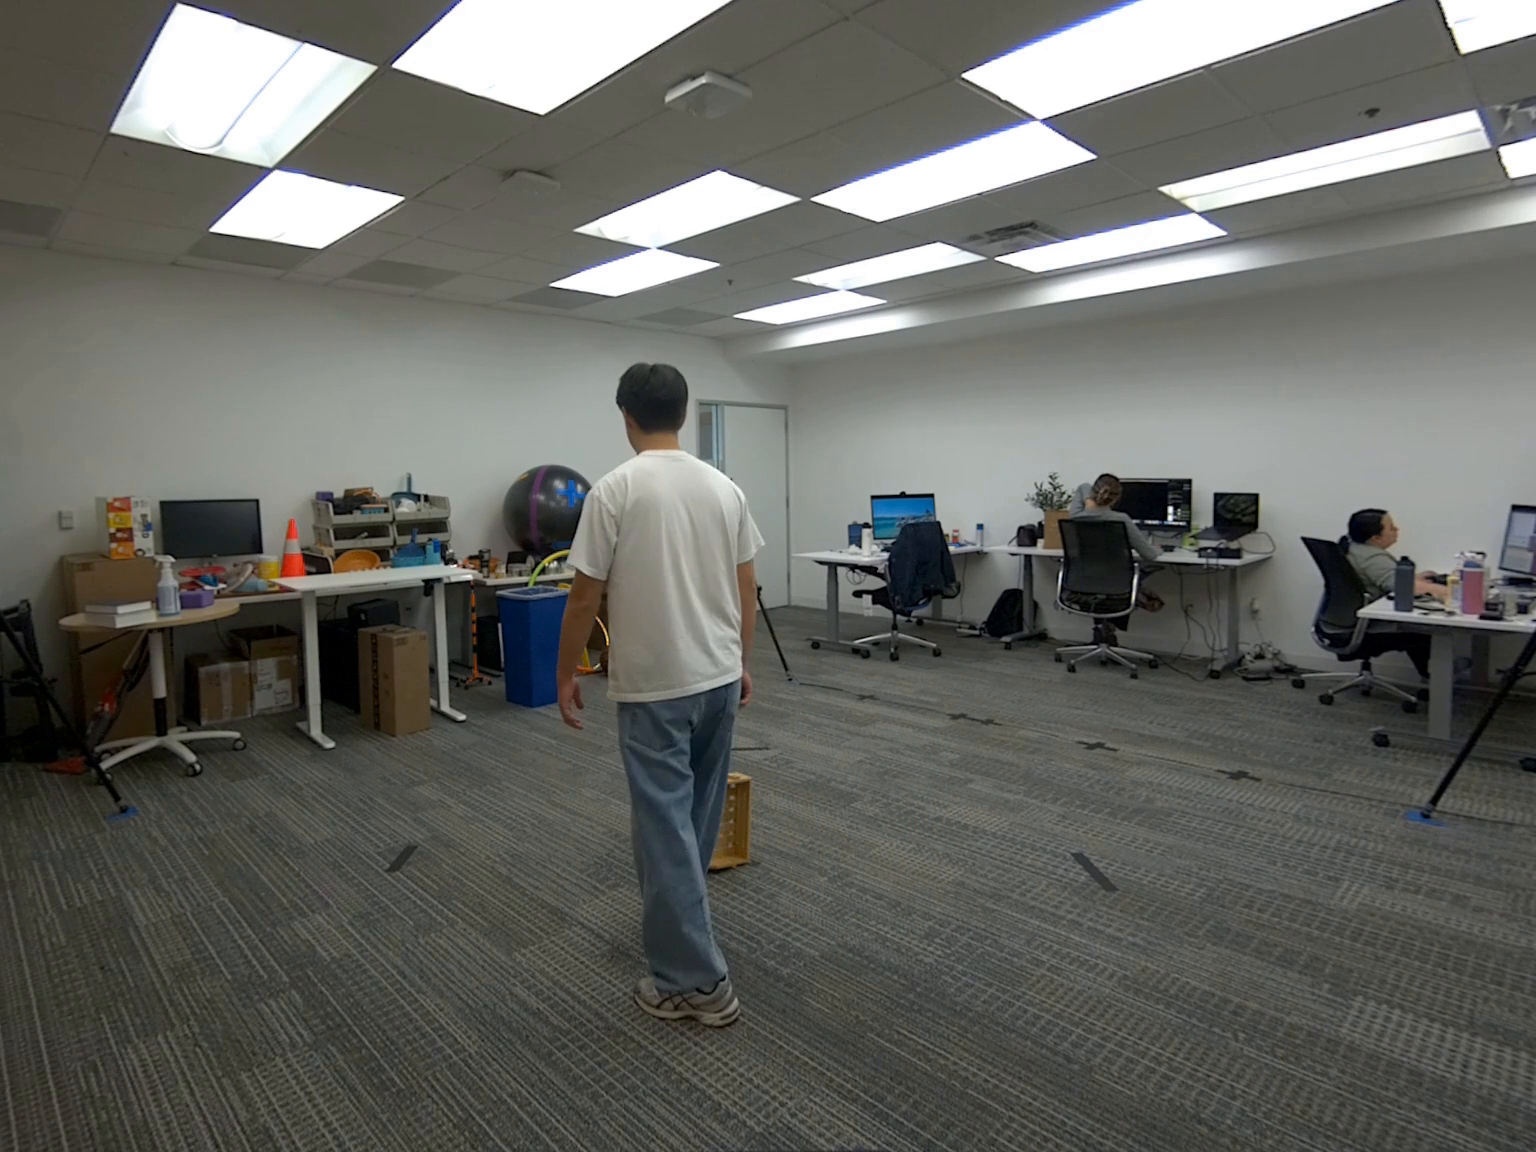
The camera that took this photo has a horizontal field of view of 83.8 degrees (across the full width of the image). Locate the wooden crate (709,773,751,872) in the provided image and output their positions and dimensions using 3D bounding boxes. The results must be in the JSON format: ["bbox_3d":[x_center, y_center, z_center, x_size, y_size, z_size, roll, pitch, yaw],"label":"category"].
[{"bbox_3d":[-0.248,0.879,3.123,0.293,0.325,0.281,2,-2,-38],"label":"wooden crate"}]
